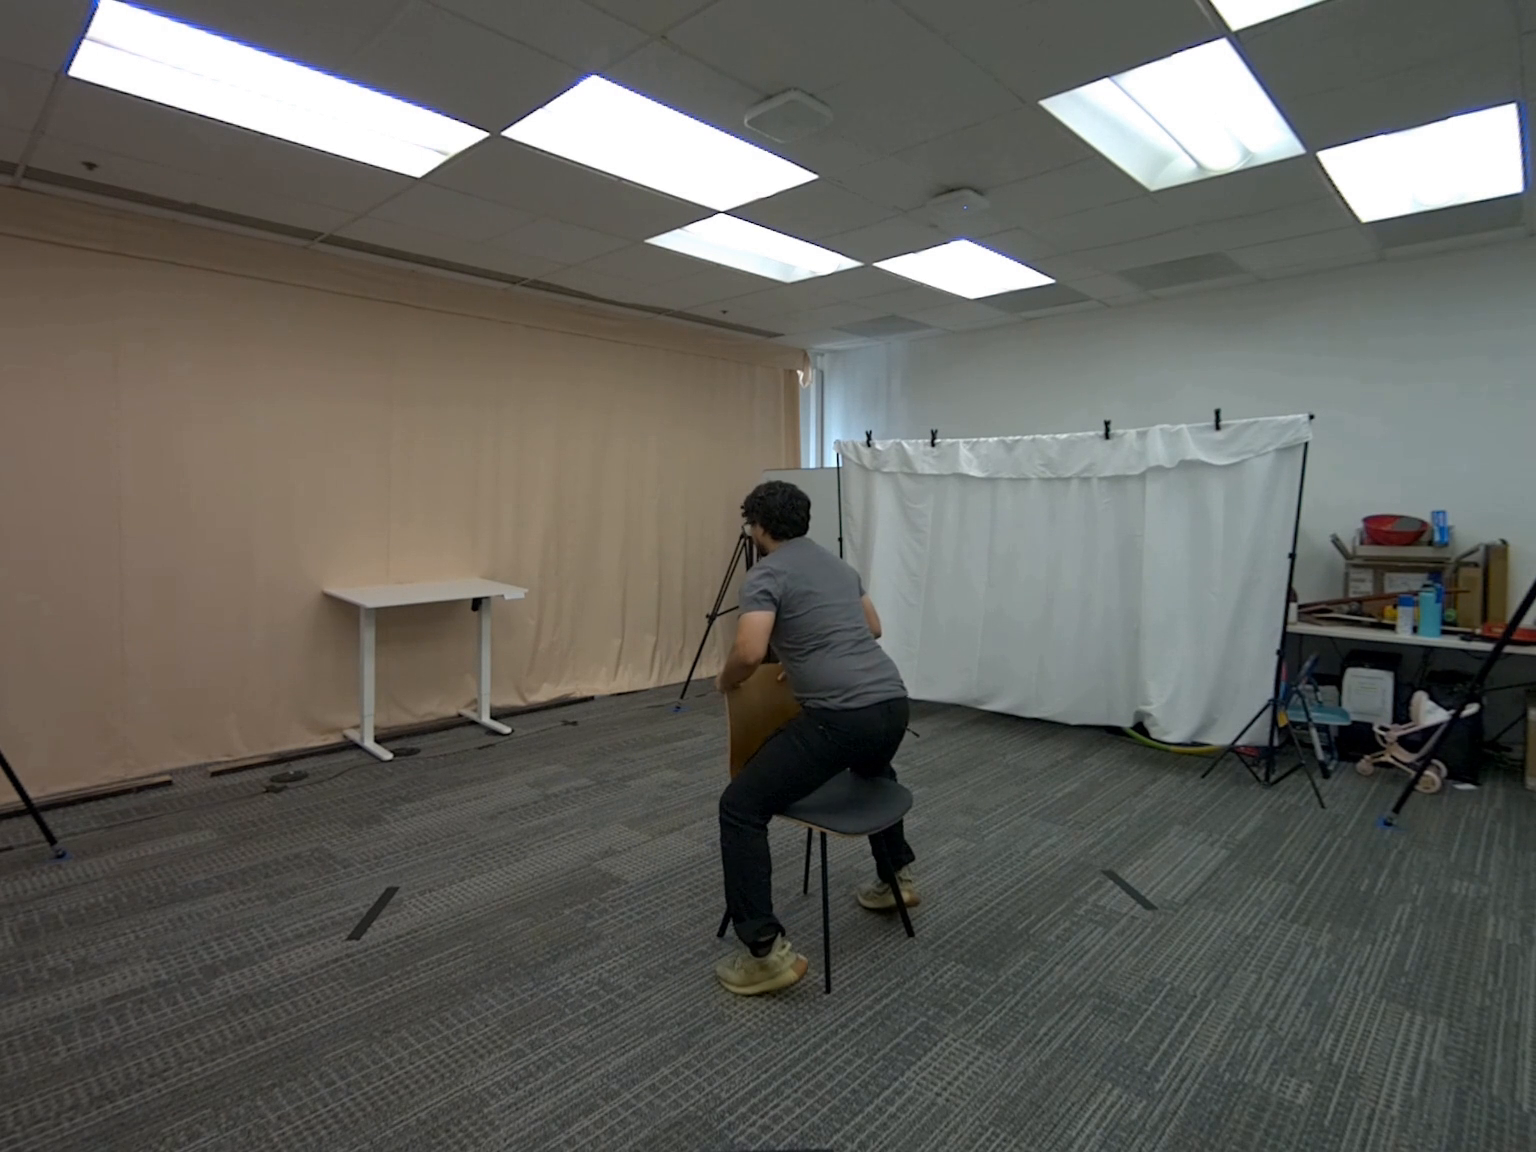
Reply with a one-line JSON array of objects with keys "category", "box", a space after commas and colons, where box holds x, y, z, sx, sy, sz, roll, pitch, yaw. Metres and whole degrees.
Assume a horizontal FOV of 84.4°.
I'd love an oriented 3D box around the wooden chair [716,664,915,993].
[{"category": "wooden chair", "box": [0.160, 0.741, 2.689, 0.539, 0.877, 0.463, -3, 0, 44]}]
